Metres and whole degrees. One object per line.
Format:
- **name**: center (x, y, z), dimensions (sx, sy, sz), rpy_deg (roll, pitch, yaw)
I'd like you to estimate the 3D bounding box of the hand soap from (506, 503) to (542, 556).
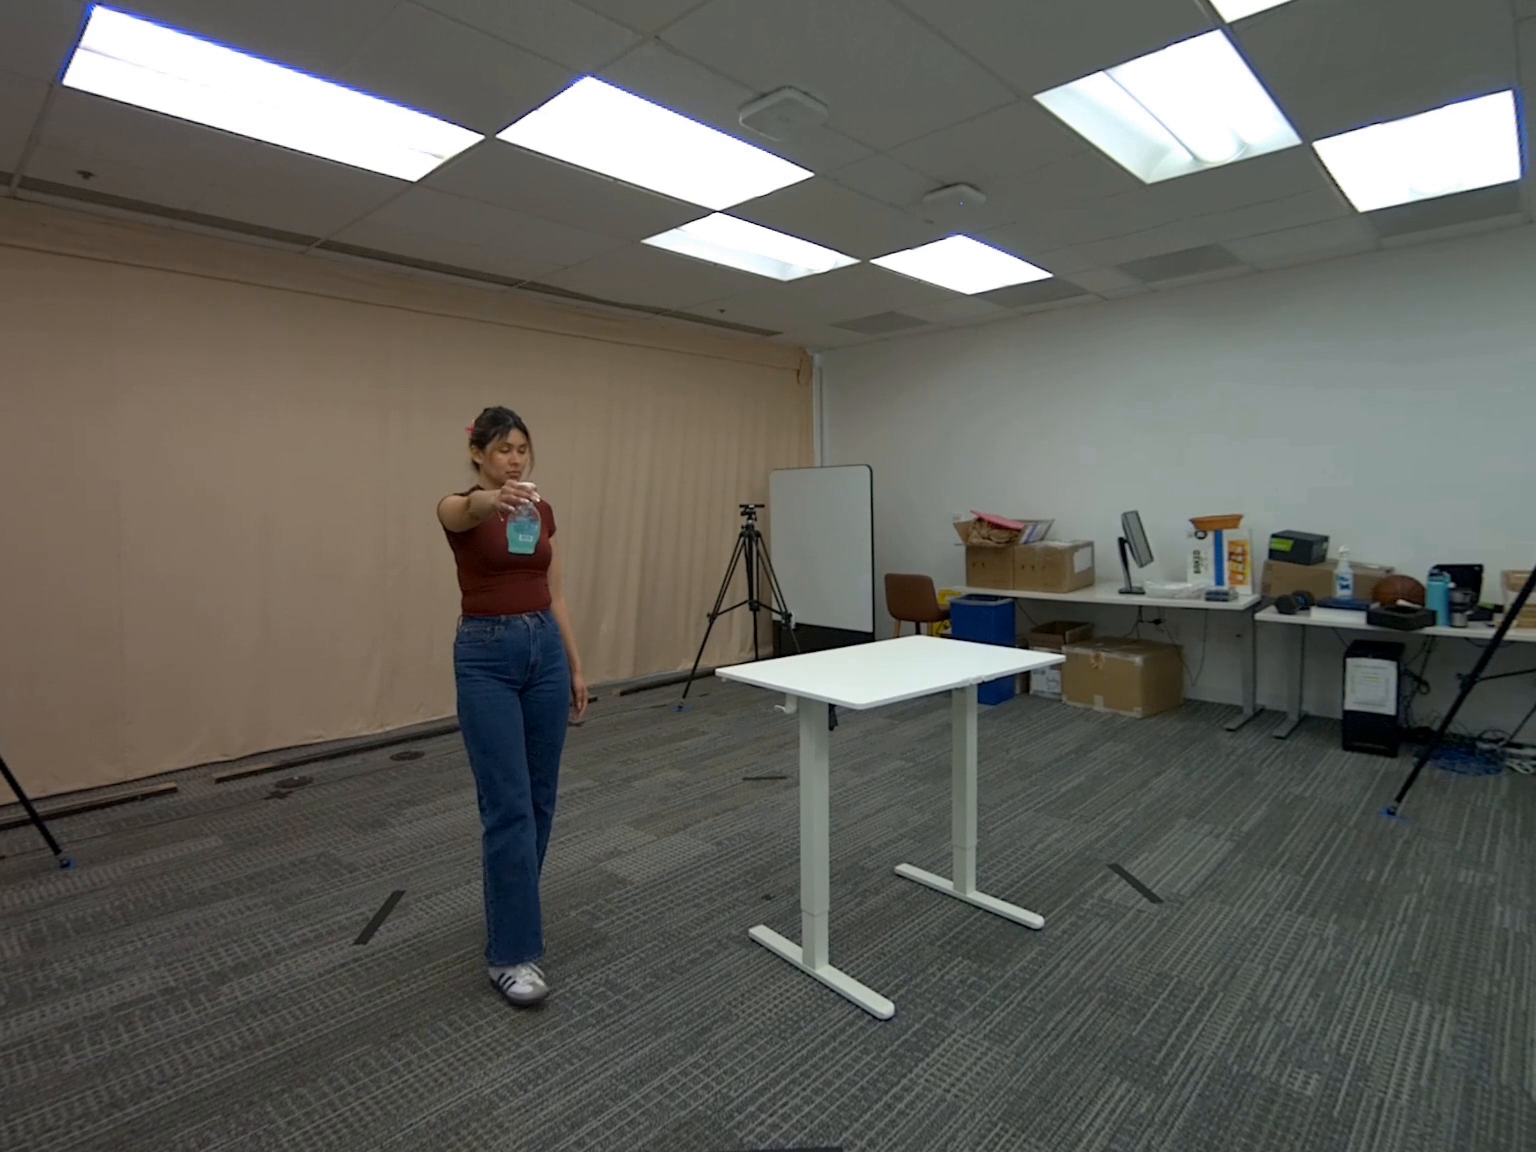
- **hand soap**: center (-0.584, -0.138, 2.001), dimensions (0.045, 0.168, 0.082), rpy_deg (6, 2, 45)
